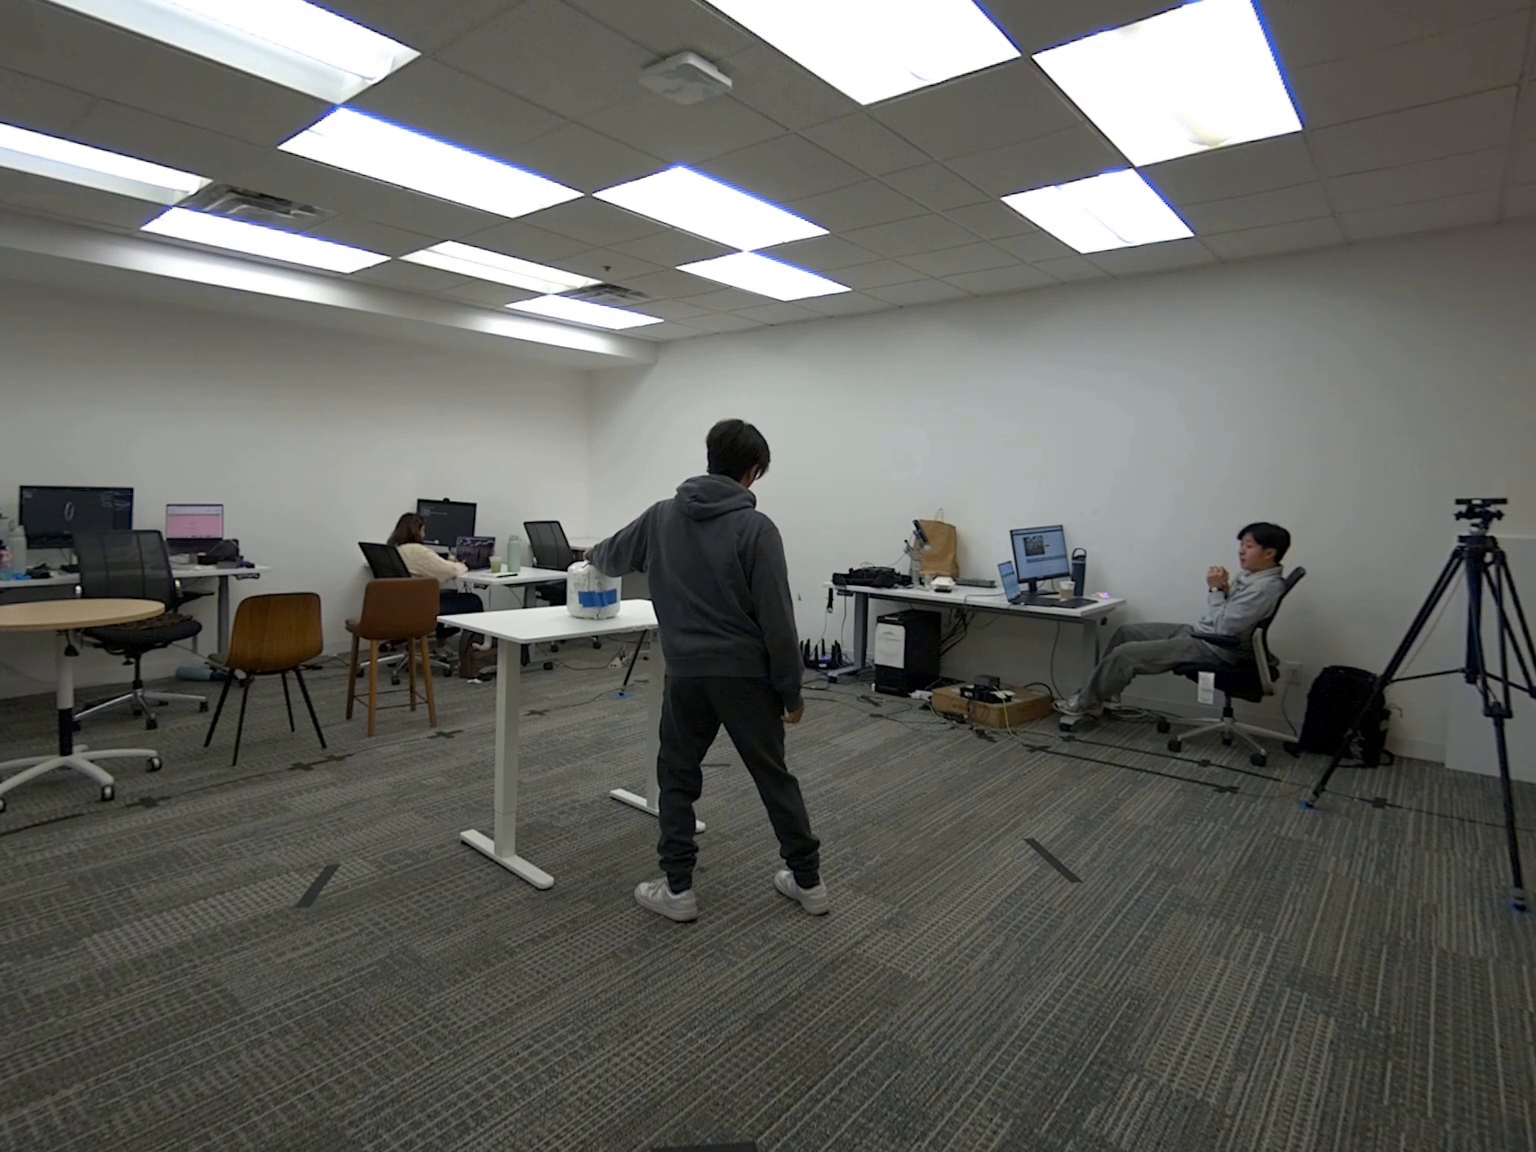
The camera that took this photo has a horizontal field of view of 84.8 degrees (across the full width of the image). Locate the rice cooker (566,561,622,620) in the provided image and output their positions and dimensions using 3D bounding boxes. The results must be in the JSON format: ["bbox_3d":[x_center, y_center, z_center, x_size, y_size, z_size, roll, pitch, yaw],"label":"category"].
[{"bbox_3d":[-0.700,0.042,3.343,0.223,0.232,0.216,5,4,22],"label":"rice cooker"}]
